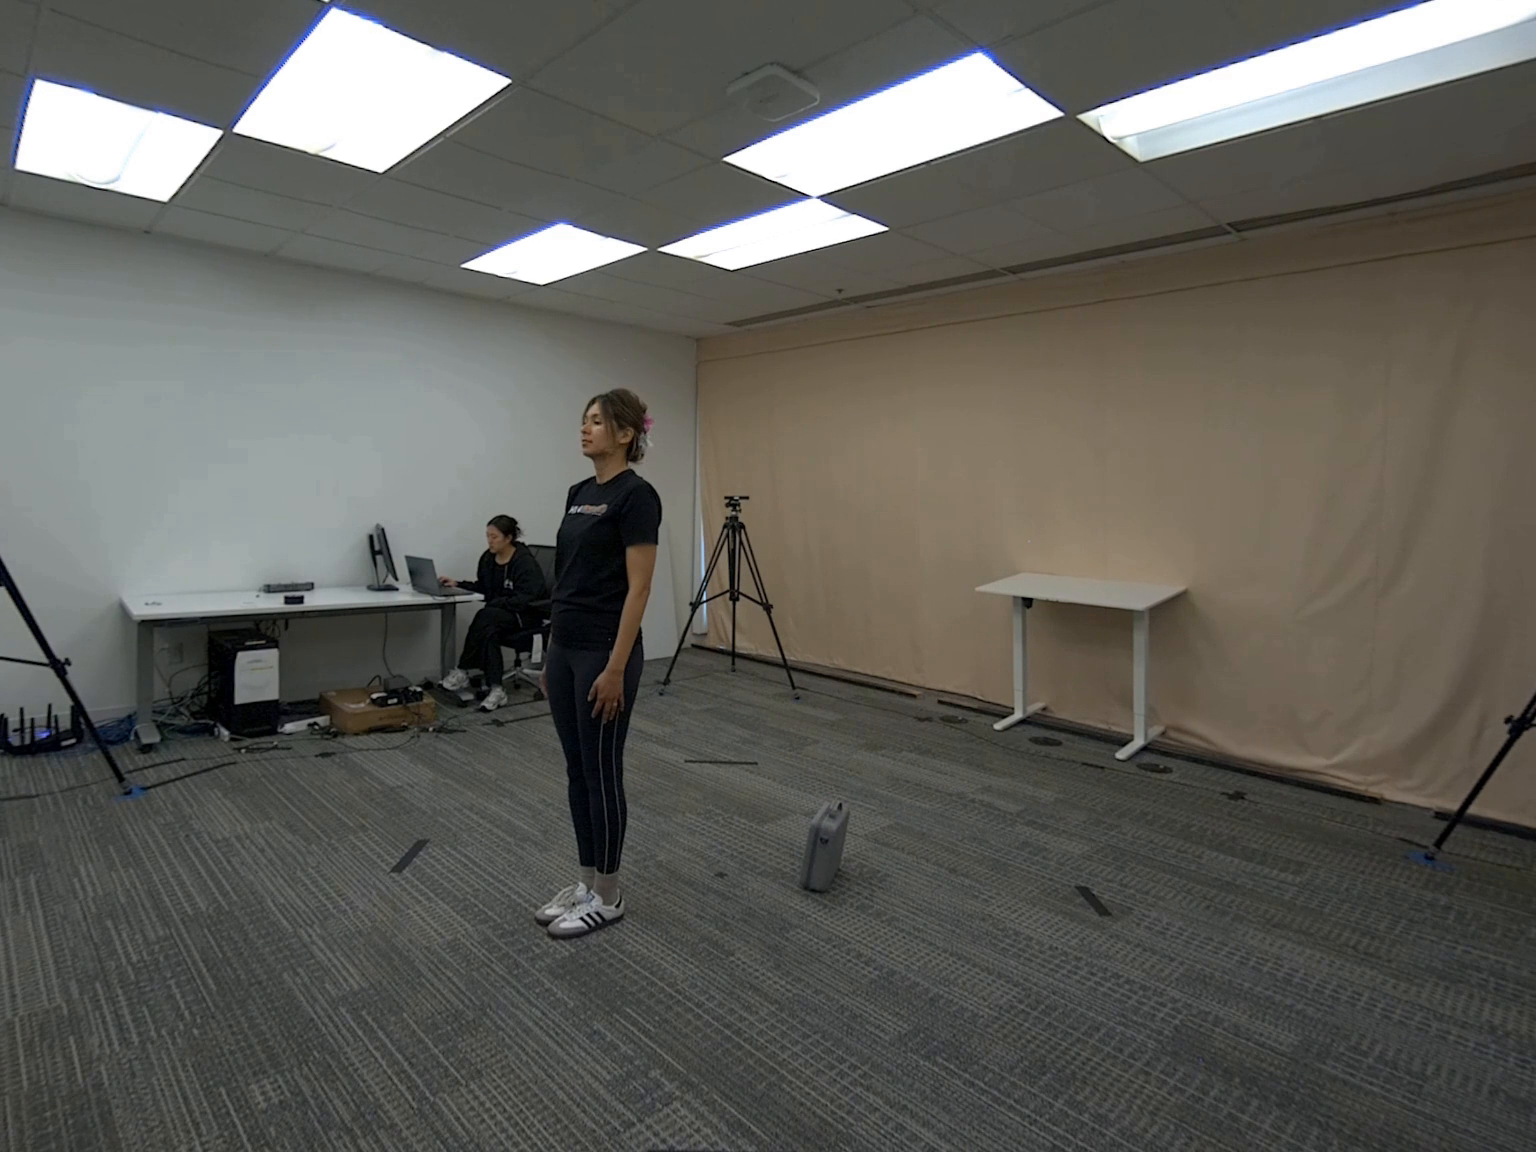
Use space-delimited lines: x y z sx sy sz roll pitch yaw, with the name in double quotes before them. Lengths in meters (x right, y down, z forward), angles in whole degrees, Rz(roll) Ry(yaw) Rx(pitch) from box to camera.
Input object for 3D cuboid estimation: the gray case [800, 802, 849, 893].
"gray case" 0.204 0.980 3.080 0.106 0.259 0.254 10 7 18
